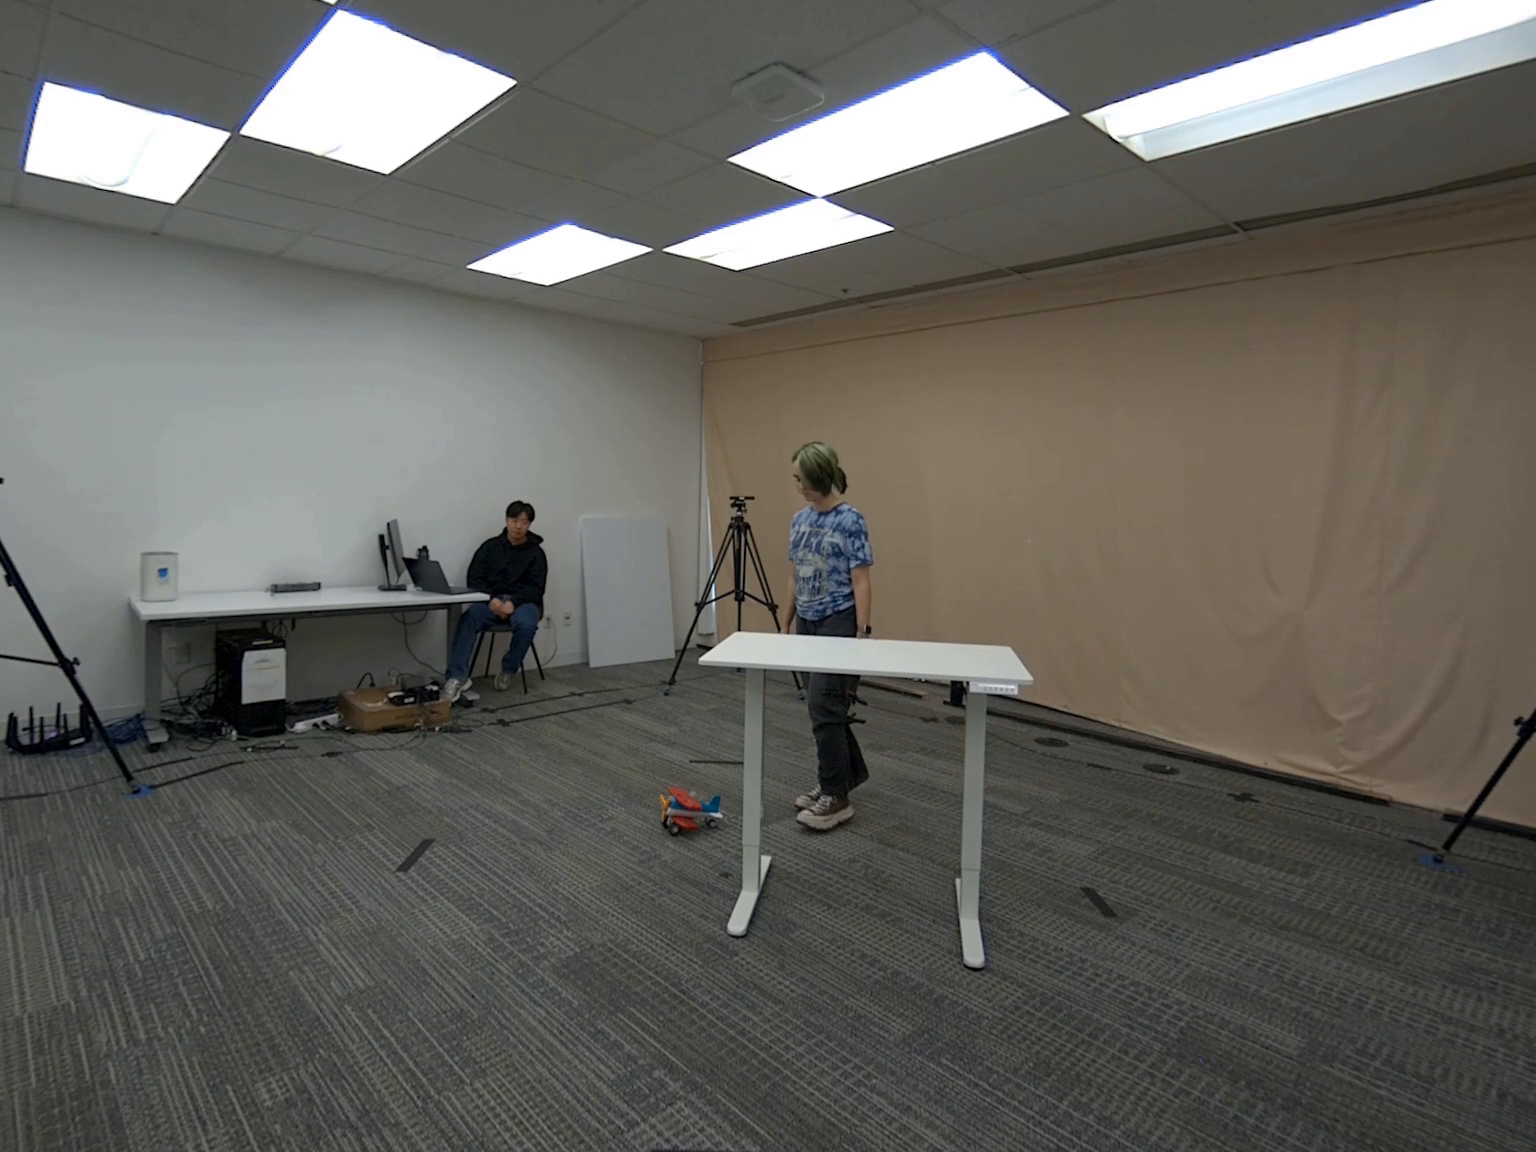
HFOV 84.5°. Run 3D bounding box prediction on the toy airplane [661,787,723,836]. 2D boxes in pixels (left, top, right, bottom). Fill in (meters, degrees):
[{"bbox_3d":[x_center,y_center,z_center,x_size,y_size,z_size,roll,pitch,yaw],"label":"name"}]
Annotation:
[{"bbox_3d":[-0.344,0.986,3.539,0.257,0.156,0.254,4,6,36],"label":"toy airplane"}]
